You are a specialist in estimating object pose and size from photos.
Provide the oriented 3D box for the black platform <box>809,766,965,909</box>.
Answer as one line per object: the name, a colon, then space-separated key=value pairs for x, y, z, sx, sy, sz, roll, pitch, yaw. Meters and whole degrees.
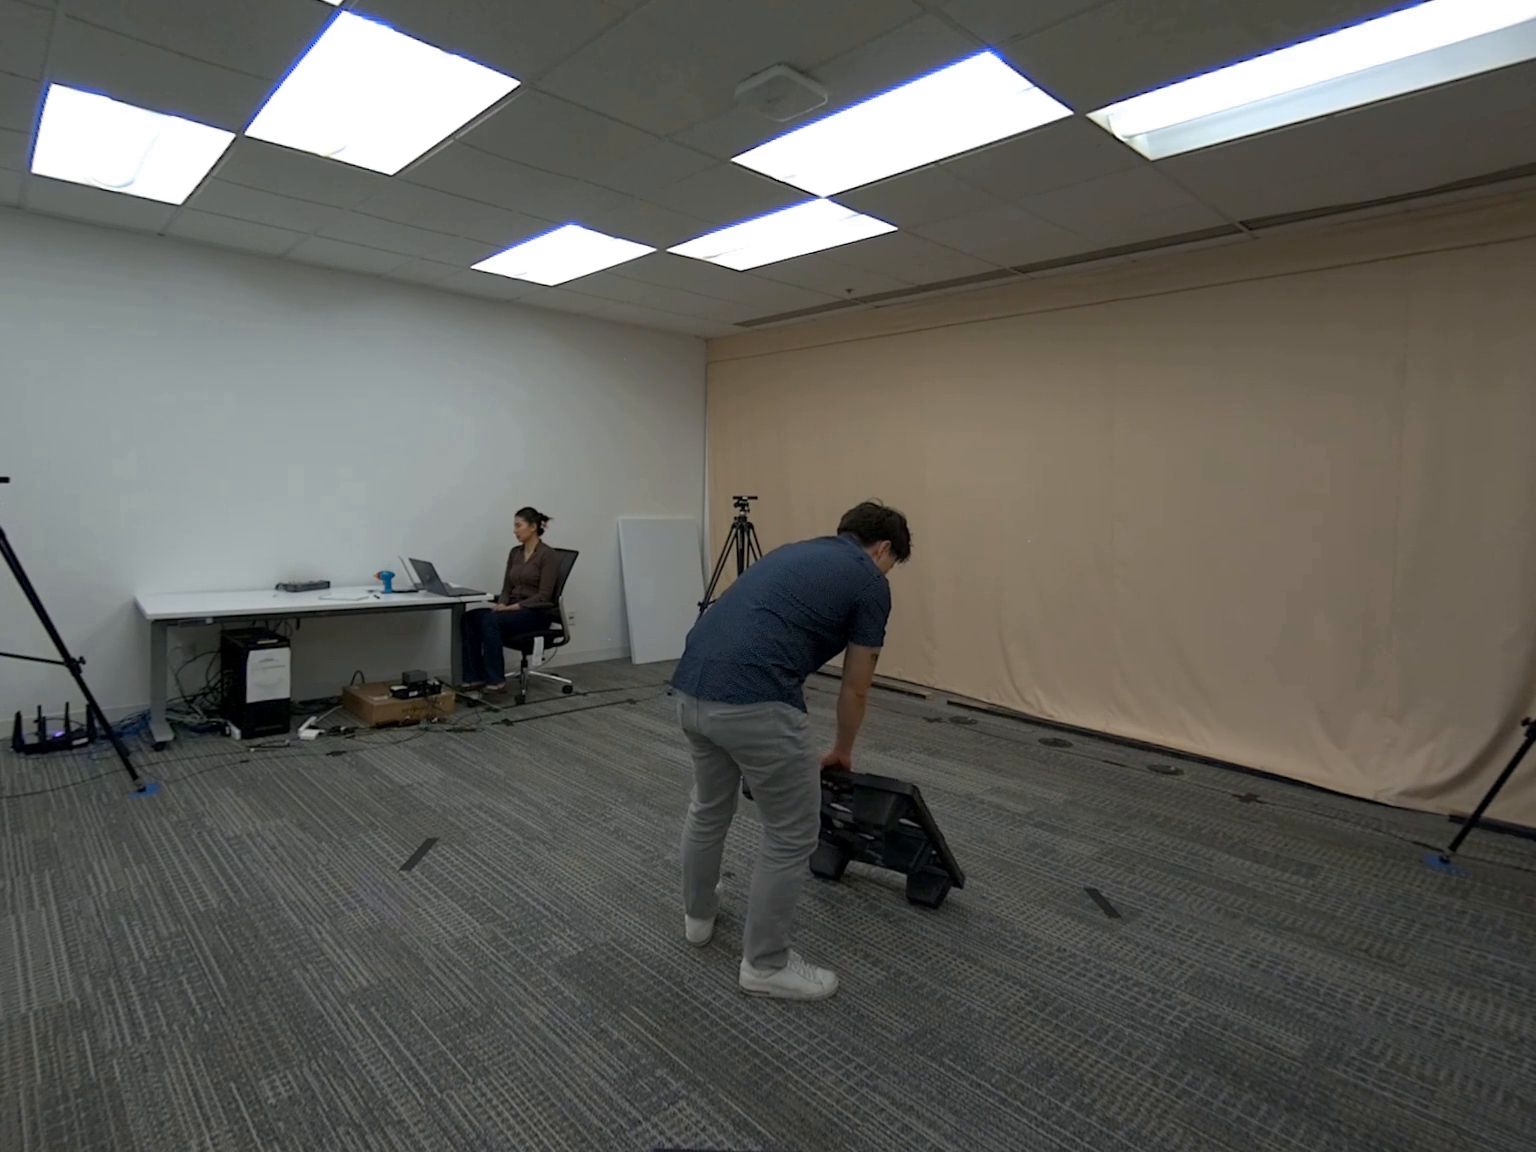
black platform: x=0.263 y=0.852 z=2.784 sx=0.619 sy=0.144 sz=0.781 roll=5 pitch=-35 yaw=30
